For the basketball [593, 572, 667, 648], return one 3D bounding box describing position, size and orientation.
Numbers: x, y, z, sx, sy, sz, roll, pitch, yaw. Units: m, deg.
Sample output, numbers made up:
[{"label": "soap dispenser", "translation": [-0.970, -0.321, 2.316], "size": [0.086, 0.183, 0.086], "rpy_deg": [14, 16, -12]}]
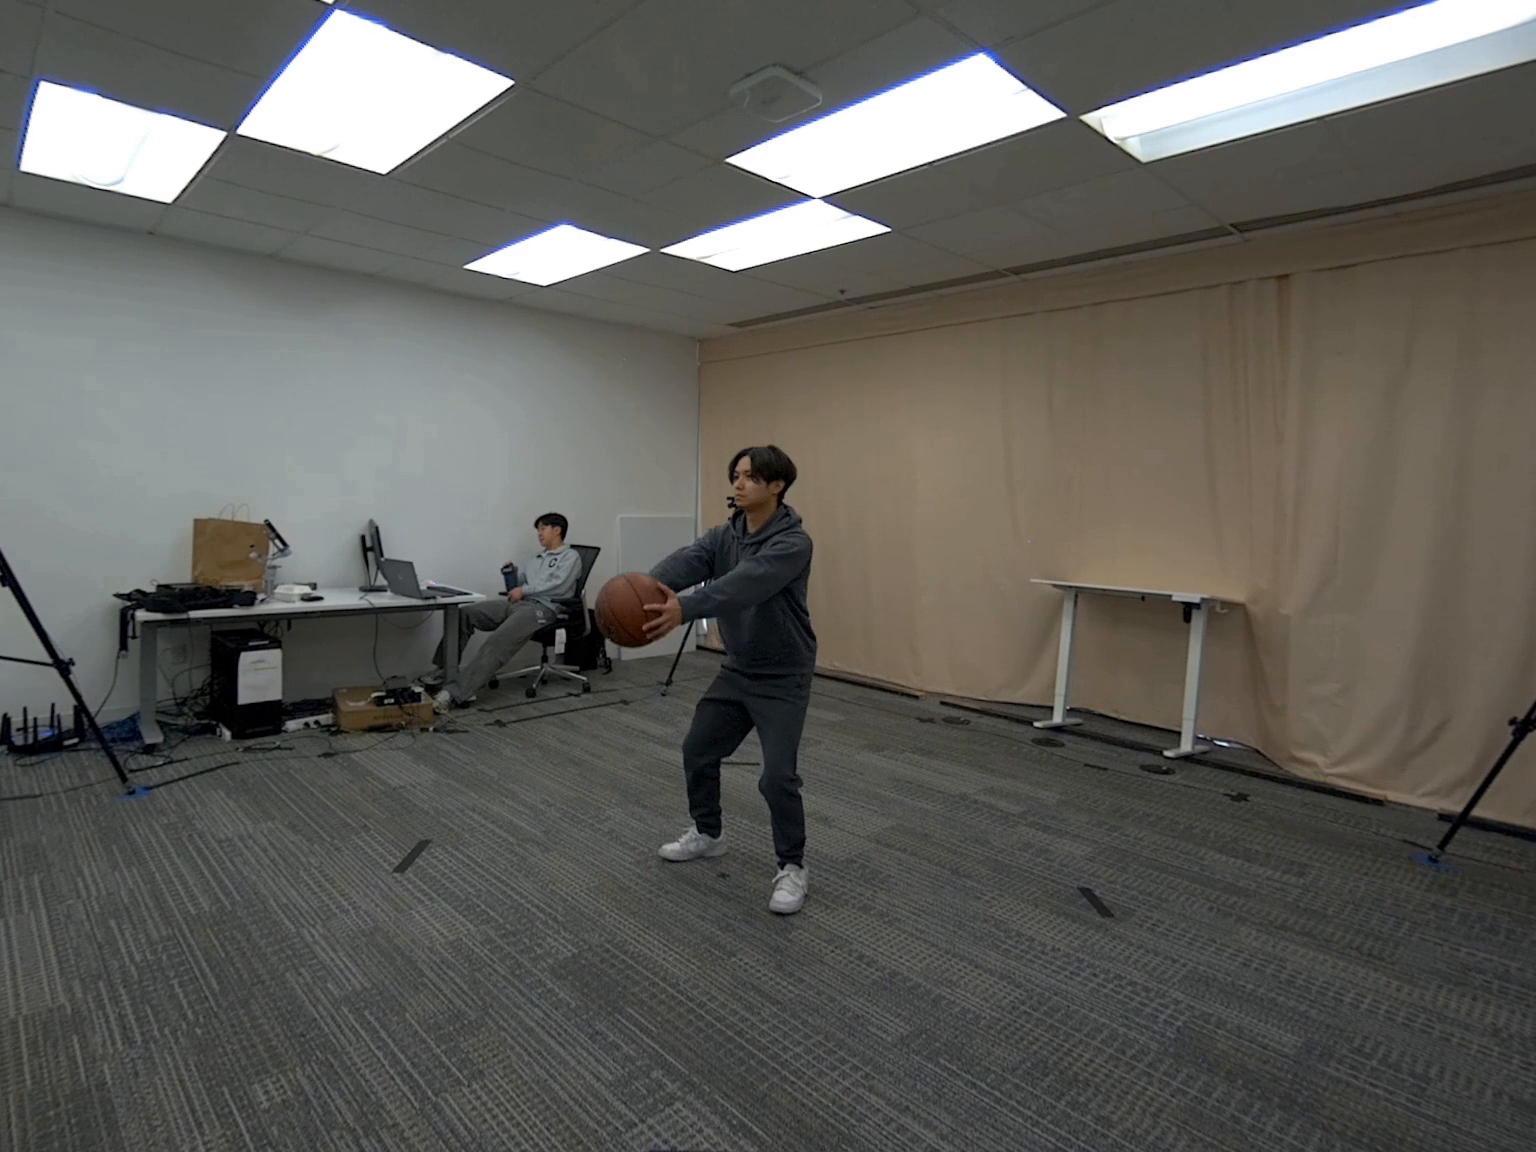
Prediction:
[{"label": "basketball", "translation": [-0.423, 0.112, 2.640], "size": [0.236, 0.235, 0.237], "rpy_deg": [1, 4, -1]}]
